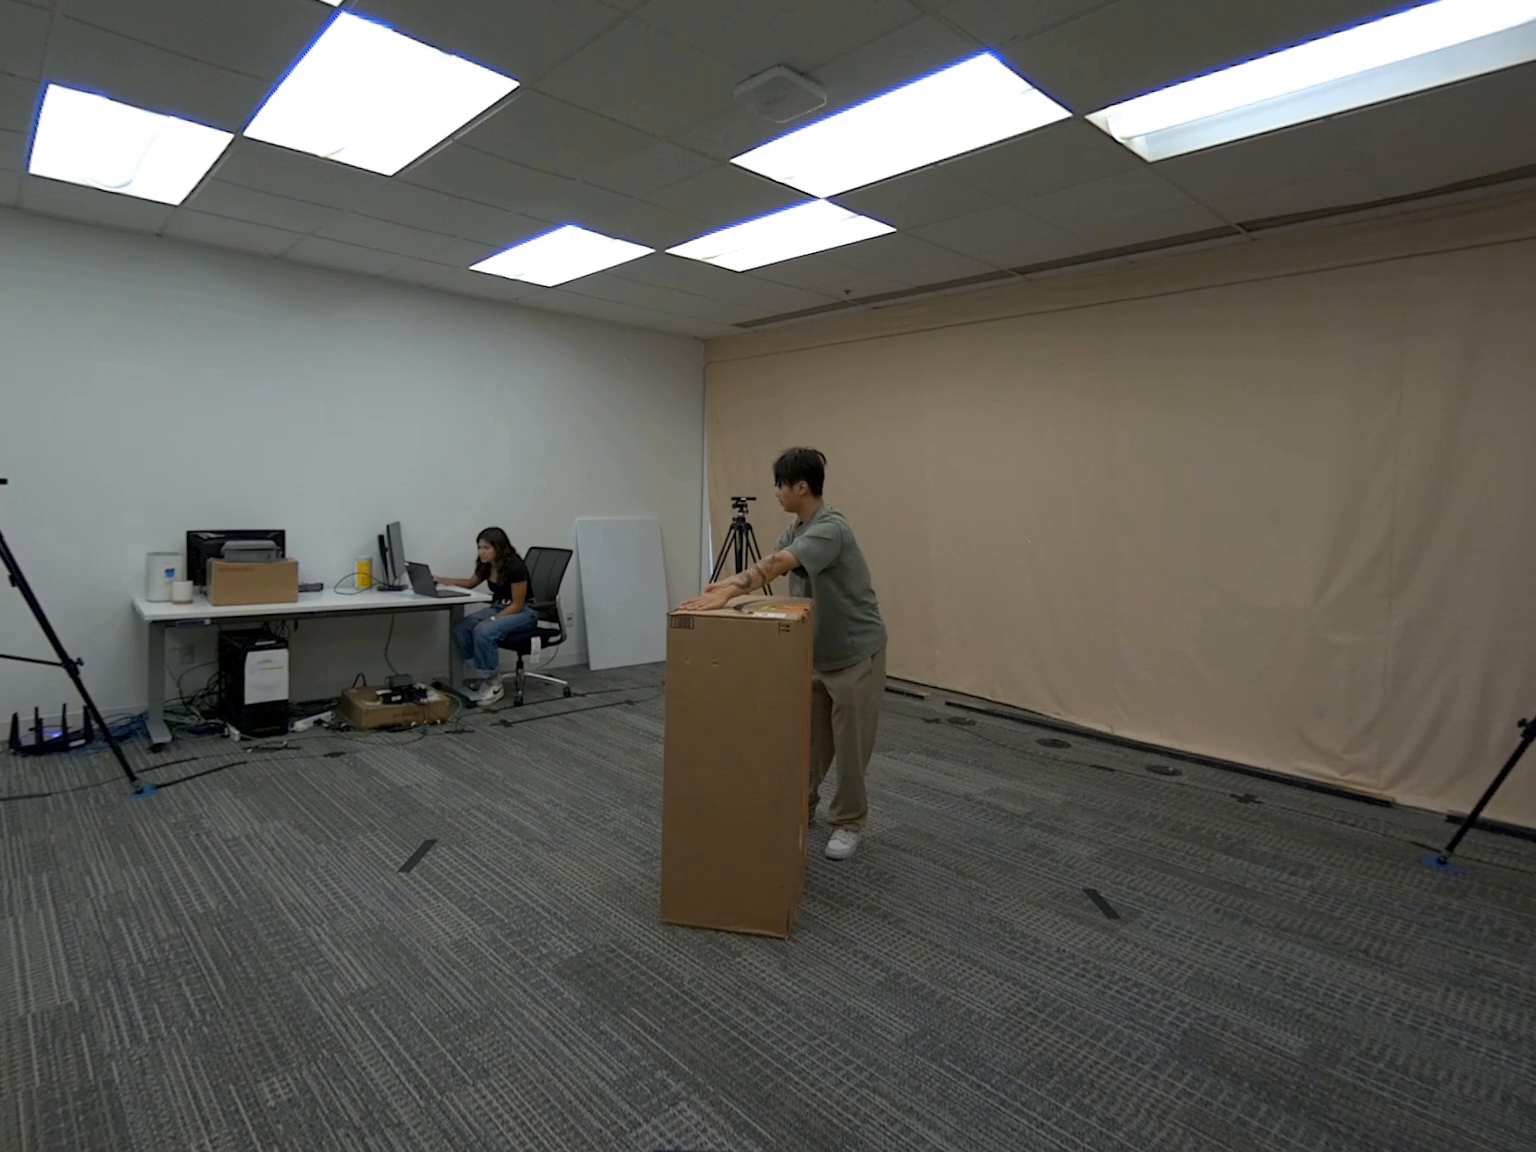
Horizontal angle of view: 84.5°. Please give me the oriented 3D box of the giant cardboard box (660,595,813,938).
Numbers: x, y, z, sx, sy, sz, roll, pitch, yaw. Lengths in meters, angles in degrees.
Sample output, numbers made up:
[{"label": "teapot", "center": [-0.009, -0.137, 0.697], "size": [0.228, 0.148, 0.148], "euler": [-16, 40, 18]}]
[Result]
[{"label": "giant cardboard box", "center": [-0.090, 0.611, 2.956], "size": [0.430, 1.024, 0.574], "euler": [2, 3, 9]}]
